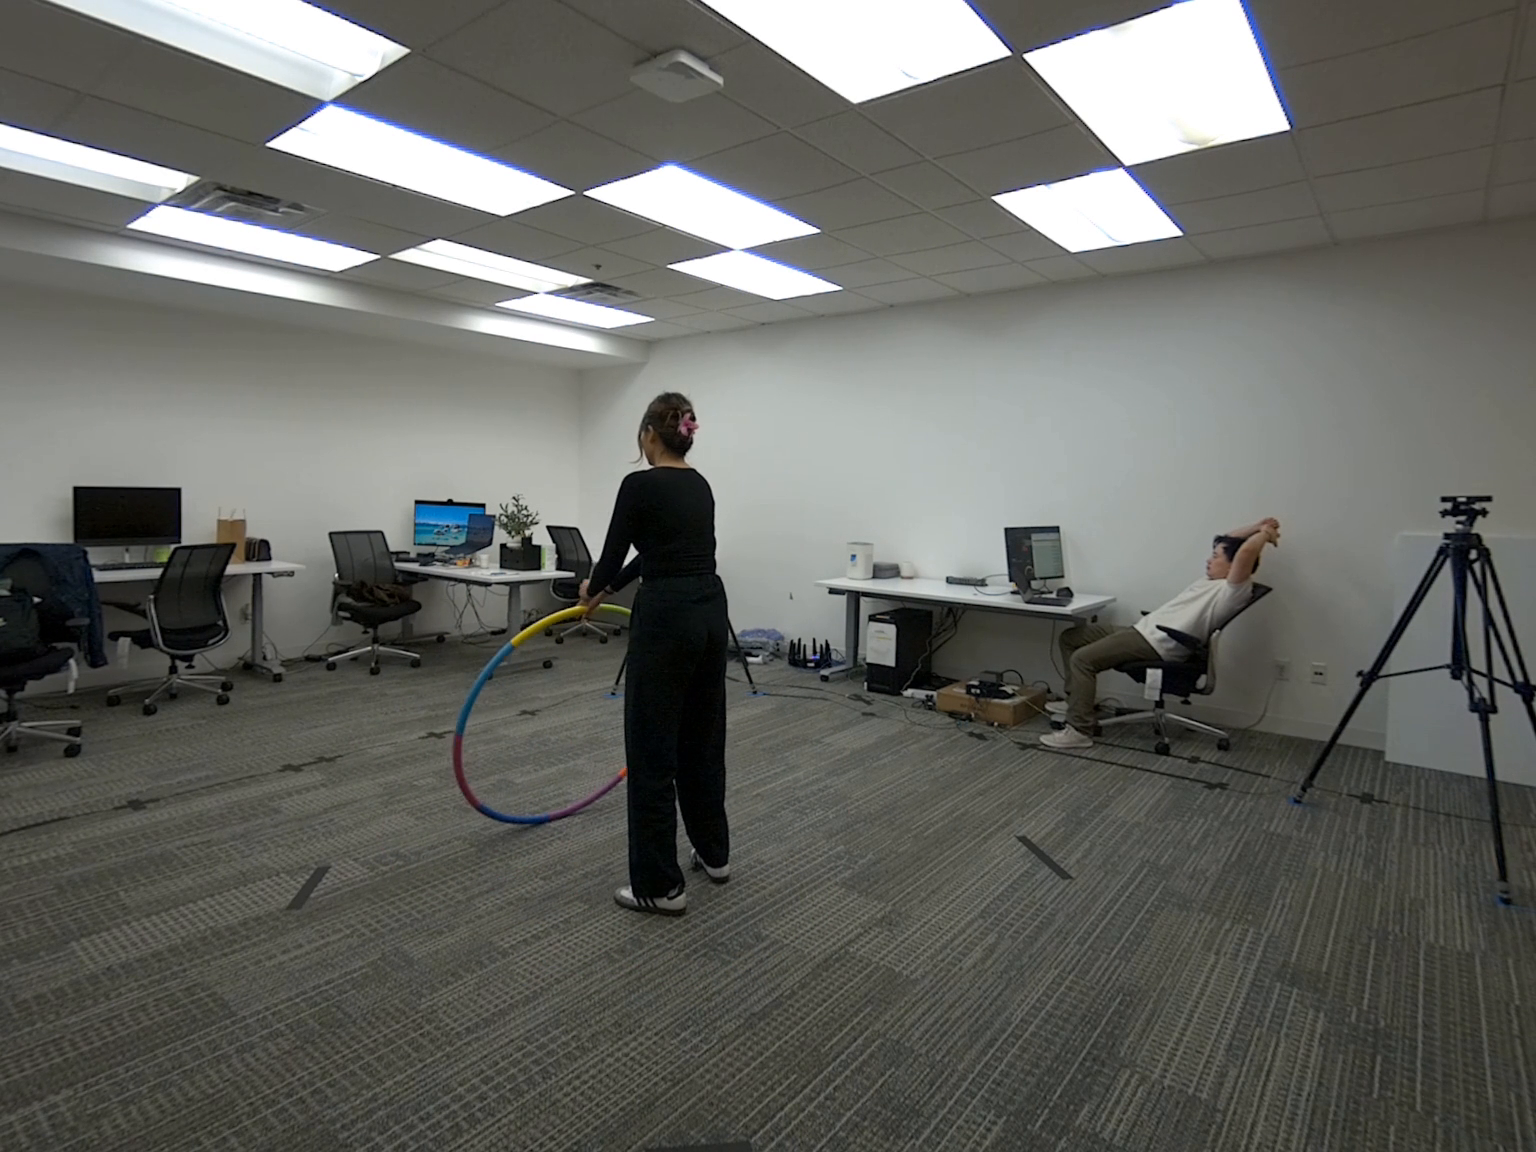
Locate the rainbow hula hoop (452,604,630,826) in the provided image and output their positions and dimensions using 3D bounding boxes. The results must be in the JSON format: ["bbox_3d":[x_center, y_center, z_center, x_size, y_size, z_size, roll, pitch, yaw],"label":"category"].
[{"bbox_3d":[-0.812,0.563,3.424,0.949,0.968,0.037,-3,23,-44],"label":"rainbow hula hoop"}]
